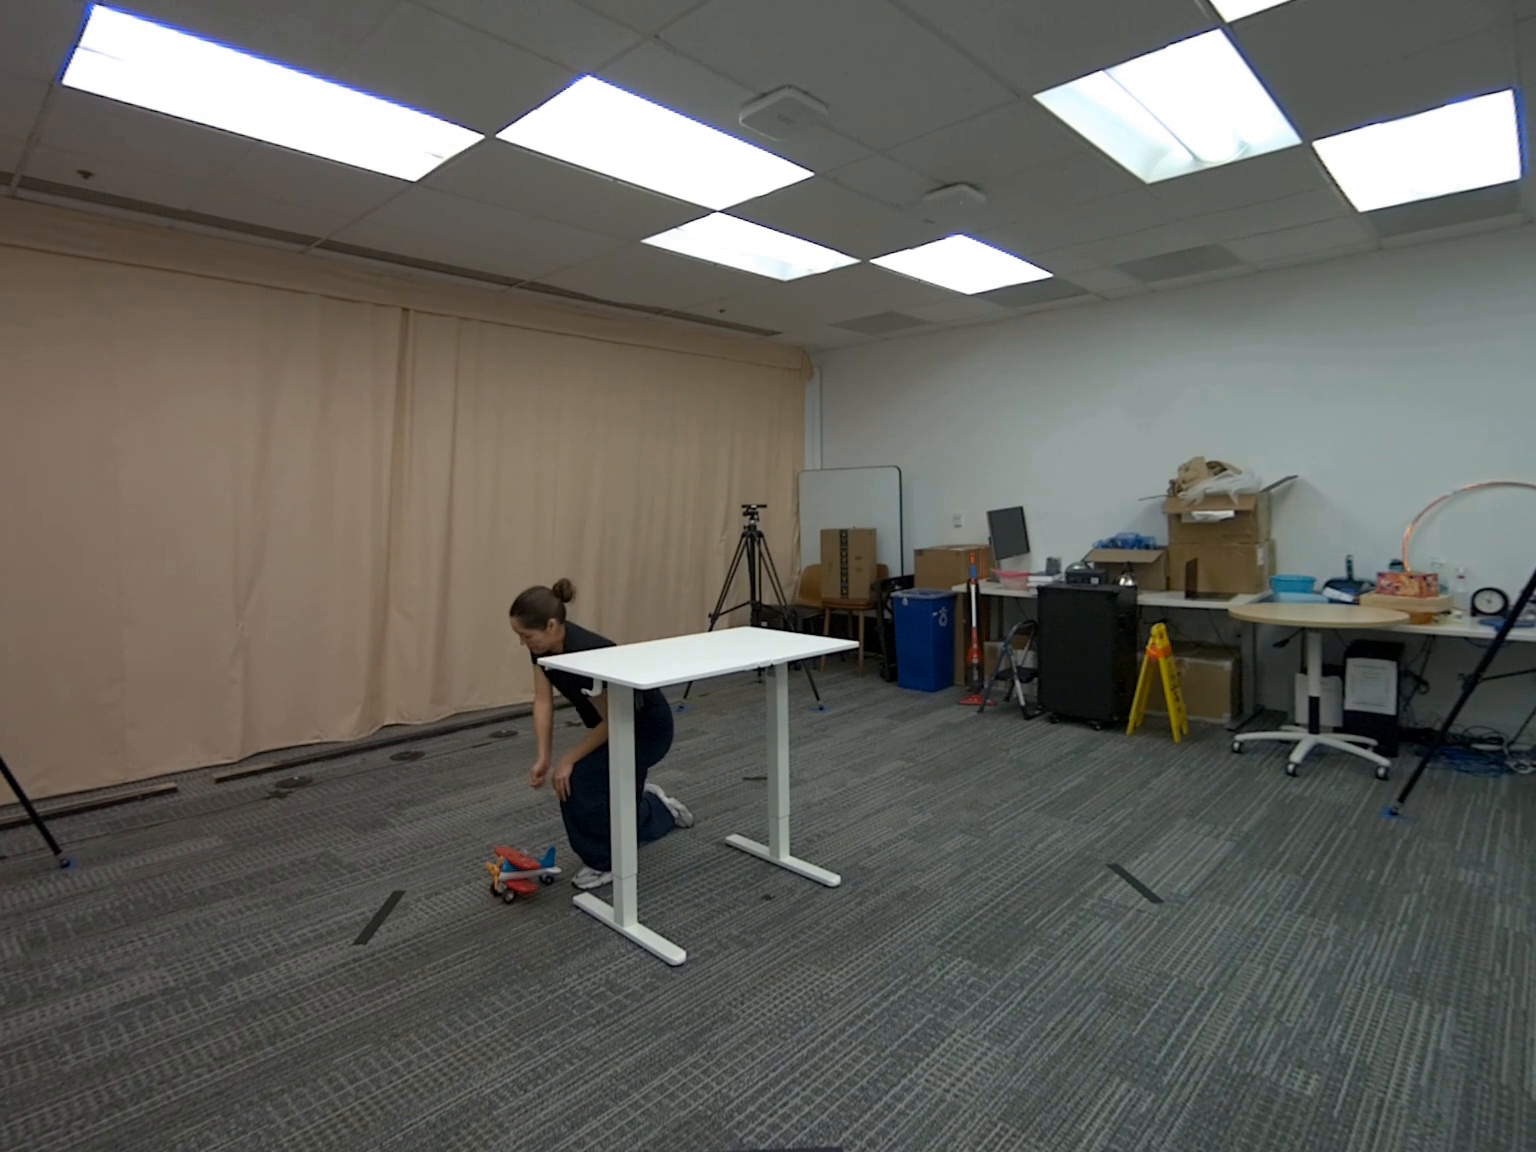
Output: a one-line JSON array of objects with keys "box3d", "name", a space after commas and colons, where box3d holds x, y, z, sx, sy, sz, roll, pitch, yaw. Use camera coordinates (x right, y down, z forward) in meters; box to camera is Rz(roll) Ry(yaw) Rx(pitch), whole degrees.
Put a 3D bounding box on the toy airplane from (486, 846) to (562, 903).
[{"box3d": [-0.898, 1.080, 3.083, 0.256, 0.156, 0.255, 0, 6, 18], "name": "toy airplane"}]
